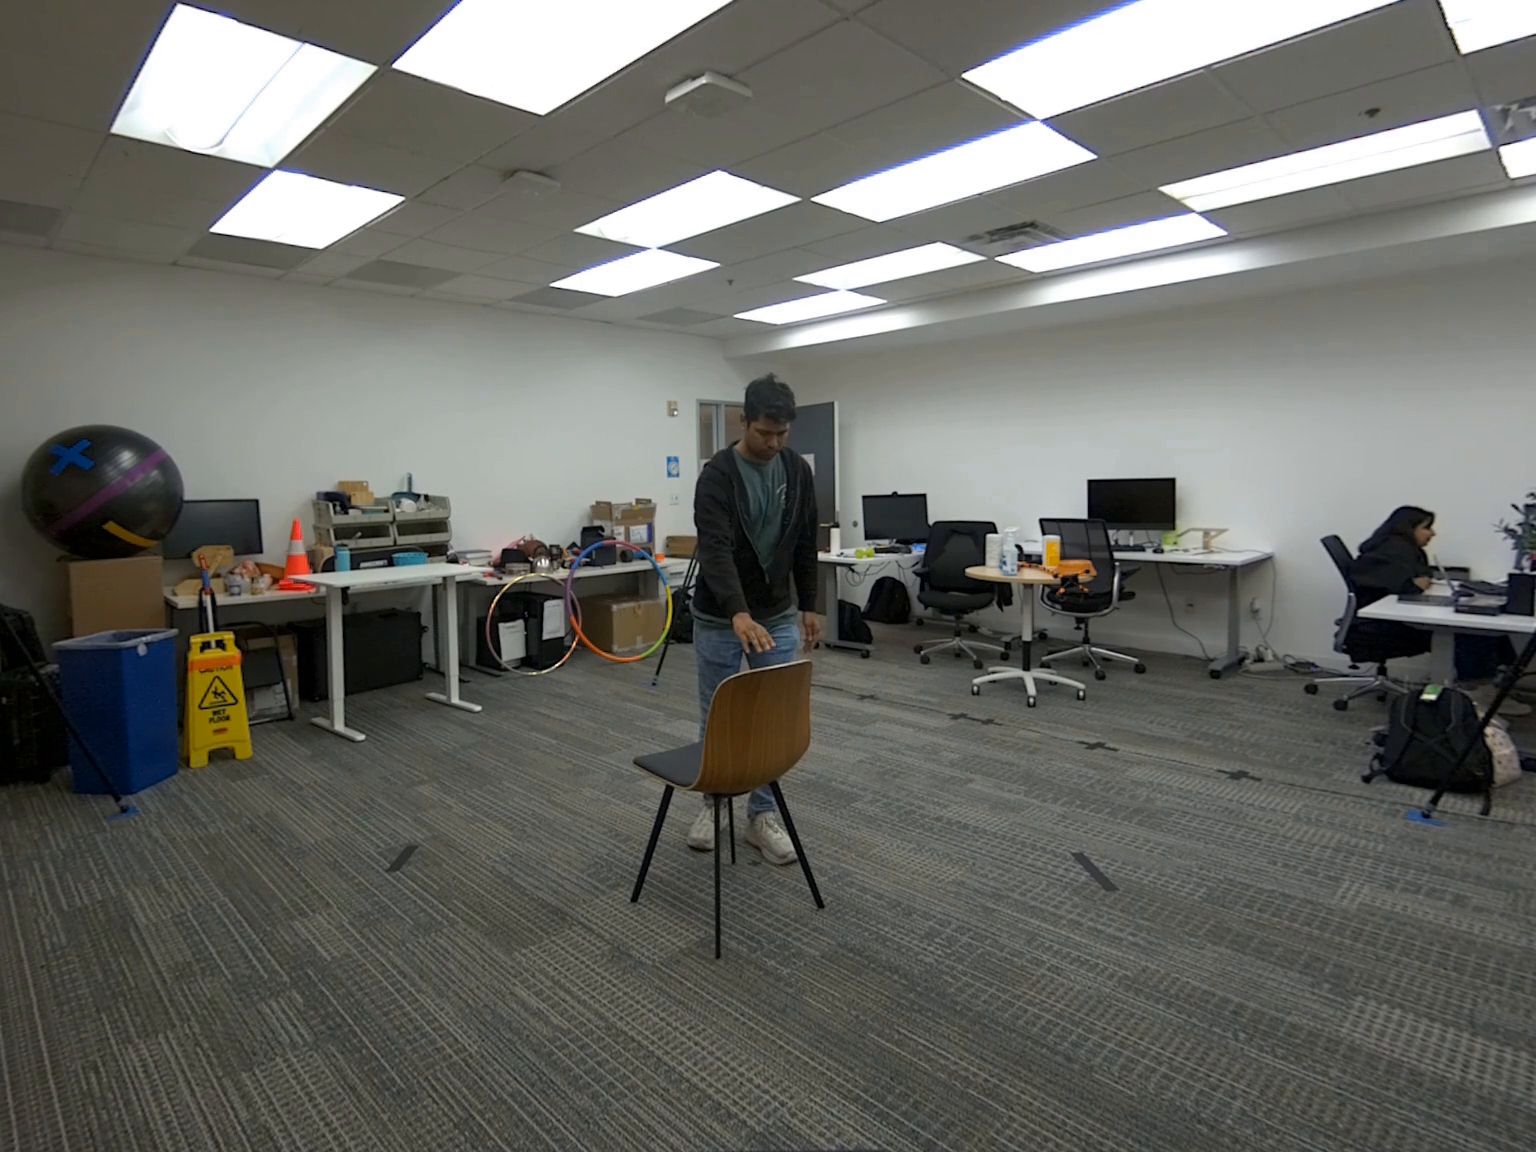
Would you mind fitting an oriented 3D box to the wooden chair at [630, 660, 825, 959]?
[{"bbox_3d":[-0.144,0.660,2.776,0.466,0.871,0.540,-5,10,-41],"label":"wooden chair"}]
